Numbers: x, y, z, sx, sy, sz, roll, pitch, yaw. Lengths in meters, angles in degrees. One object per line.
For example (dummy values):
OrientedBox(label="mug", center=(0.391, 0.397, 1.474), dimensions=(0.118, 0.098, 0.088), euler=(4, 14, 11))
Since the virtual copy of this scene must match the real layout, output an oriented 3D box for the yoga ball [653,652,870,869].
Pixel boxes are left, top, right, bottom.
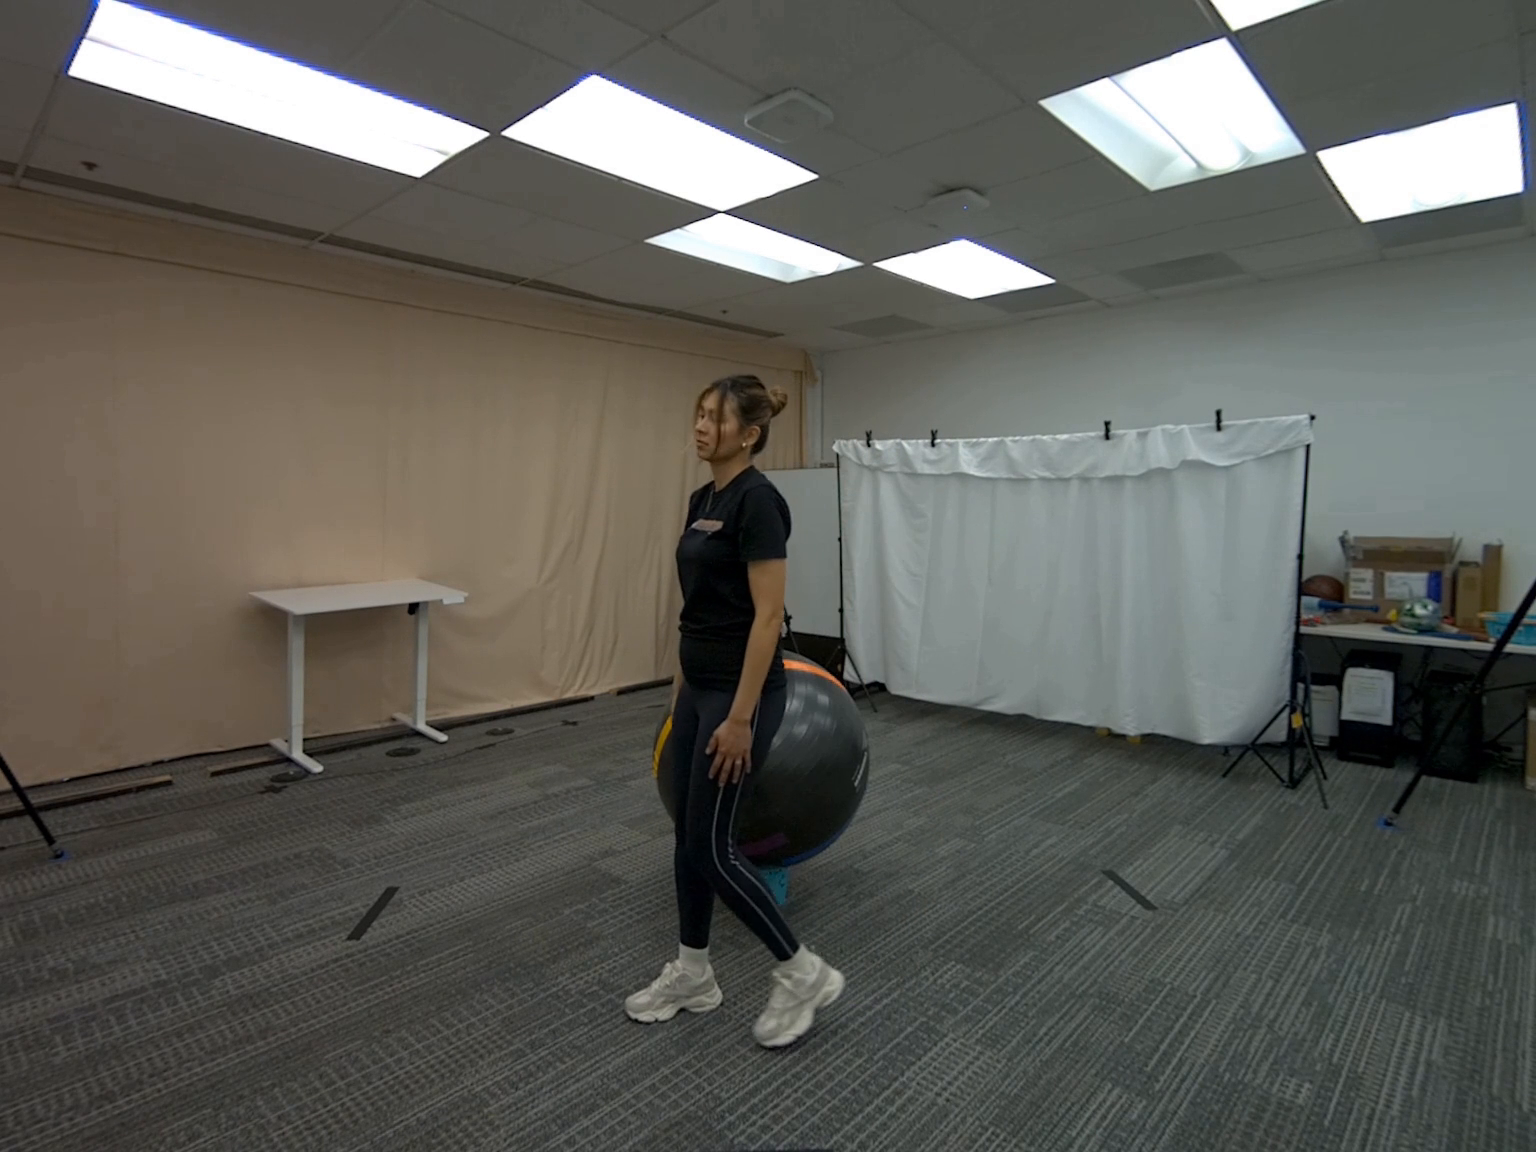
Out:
OrientedBox(label="yoga ball", center=(-0.024, 0.633, 2.965), dimensions=(0.757, 0.756, 0.761), euler=(0, 4, -2))
